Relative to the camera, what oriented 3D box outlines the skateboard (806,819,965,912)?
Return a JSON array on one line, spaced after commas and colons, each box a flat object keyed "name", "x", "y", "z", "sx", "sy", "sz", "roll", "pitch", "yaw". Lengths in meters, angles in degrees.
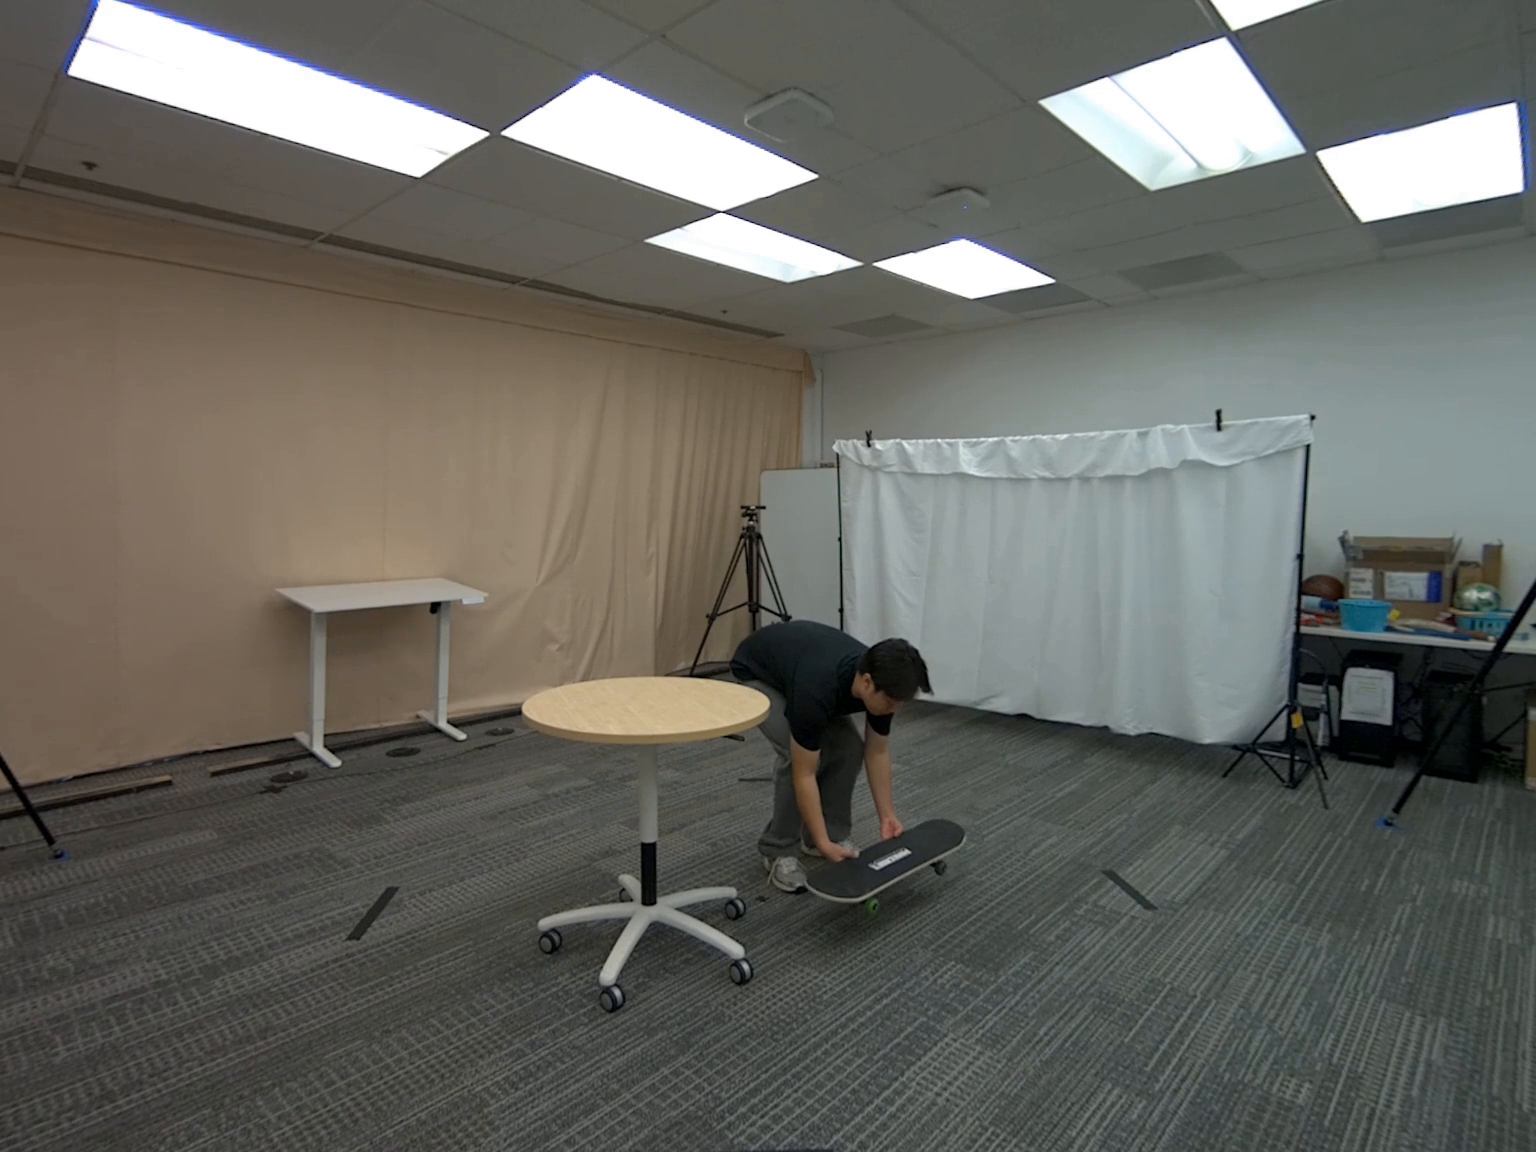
[{"name": "skateboard", "x": 0.430, "y": 1.000, "z": 2.877, "sx": 0.762, "sy": 0.110, "sz": 0.200, "roll": -6, "pitch": 11, "yaw": -44}]
